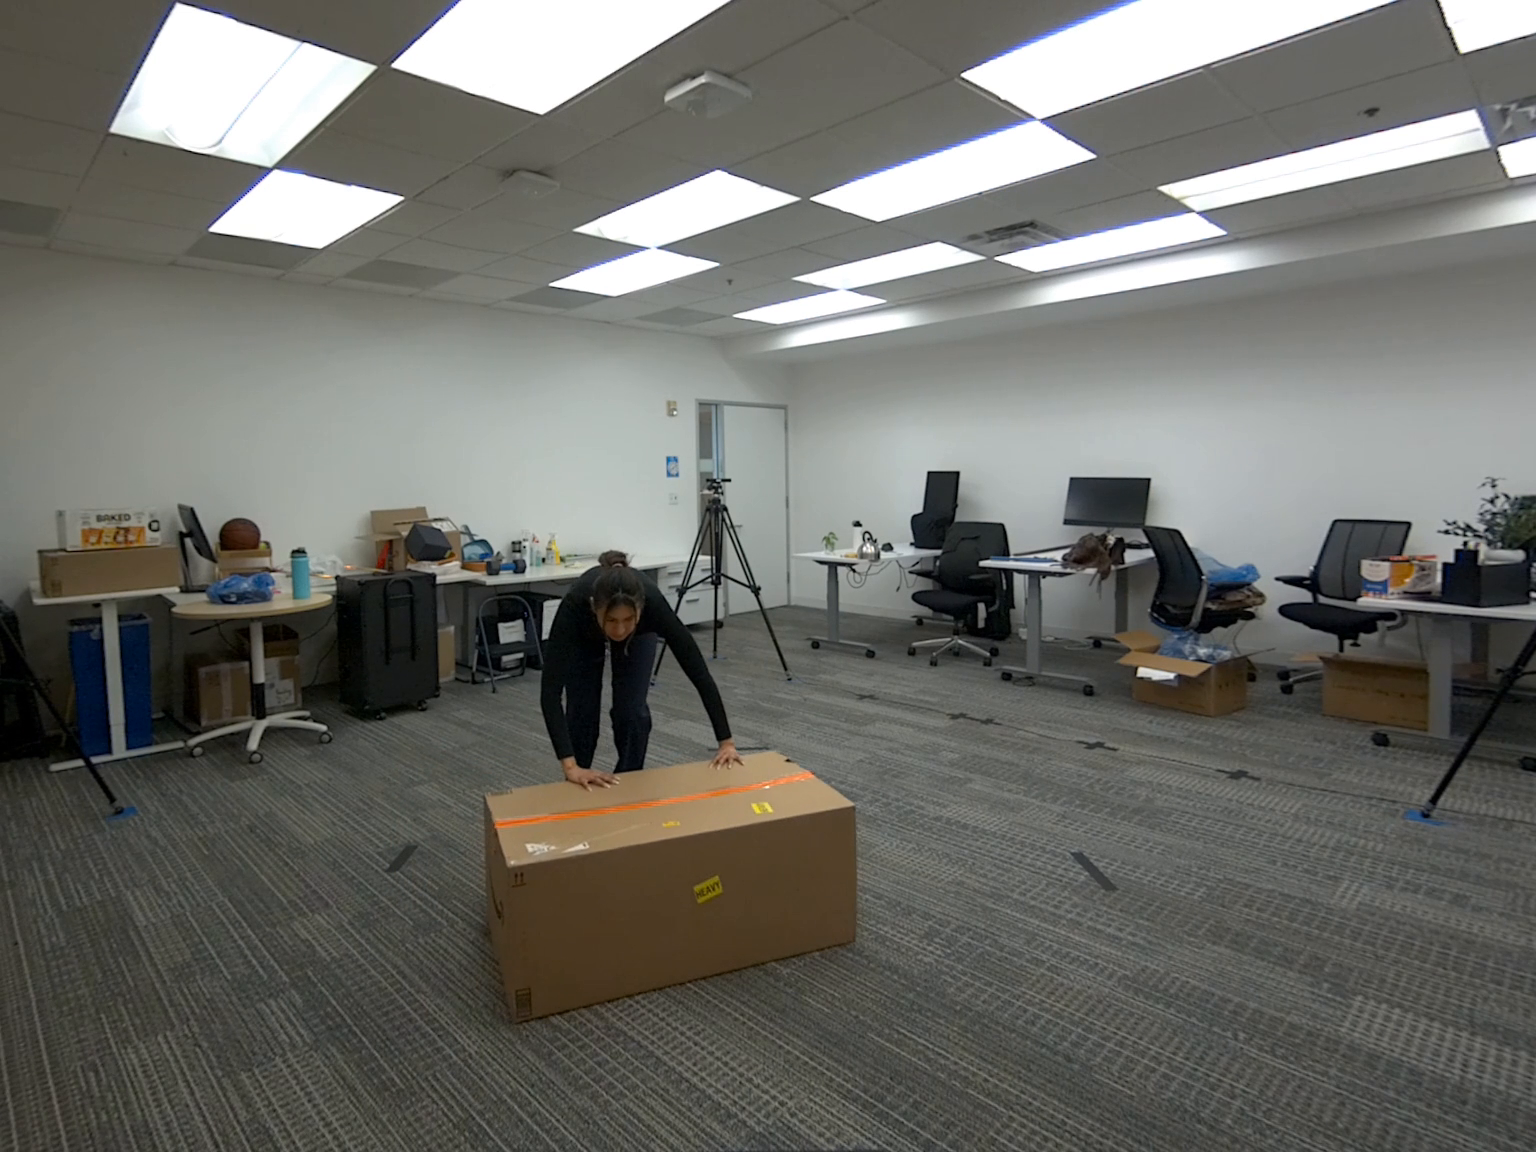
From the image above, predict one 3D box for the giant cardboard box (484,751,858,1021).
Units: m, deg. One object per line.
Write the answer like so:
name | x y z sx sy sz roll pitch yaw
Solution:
giant cardboard box | -0.313 0.889 2.639 1.006 0.425 0.591 -4 5 -22
